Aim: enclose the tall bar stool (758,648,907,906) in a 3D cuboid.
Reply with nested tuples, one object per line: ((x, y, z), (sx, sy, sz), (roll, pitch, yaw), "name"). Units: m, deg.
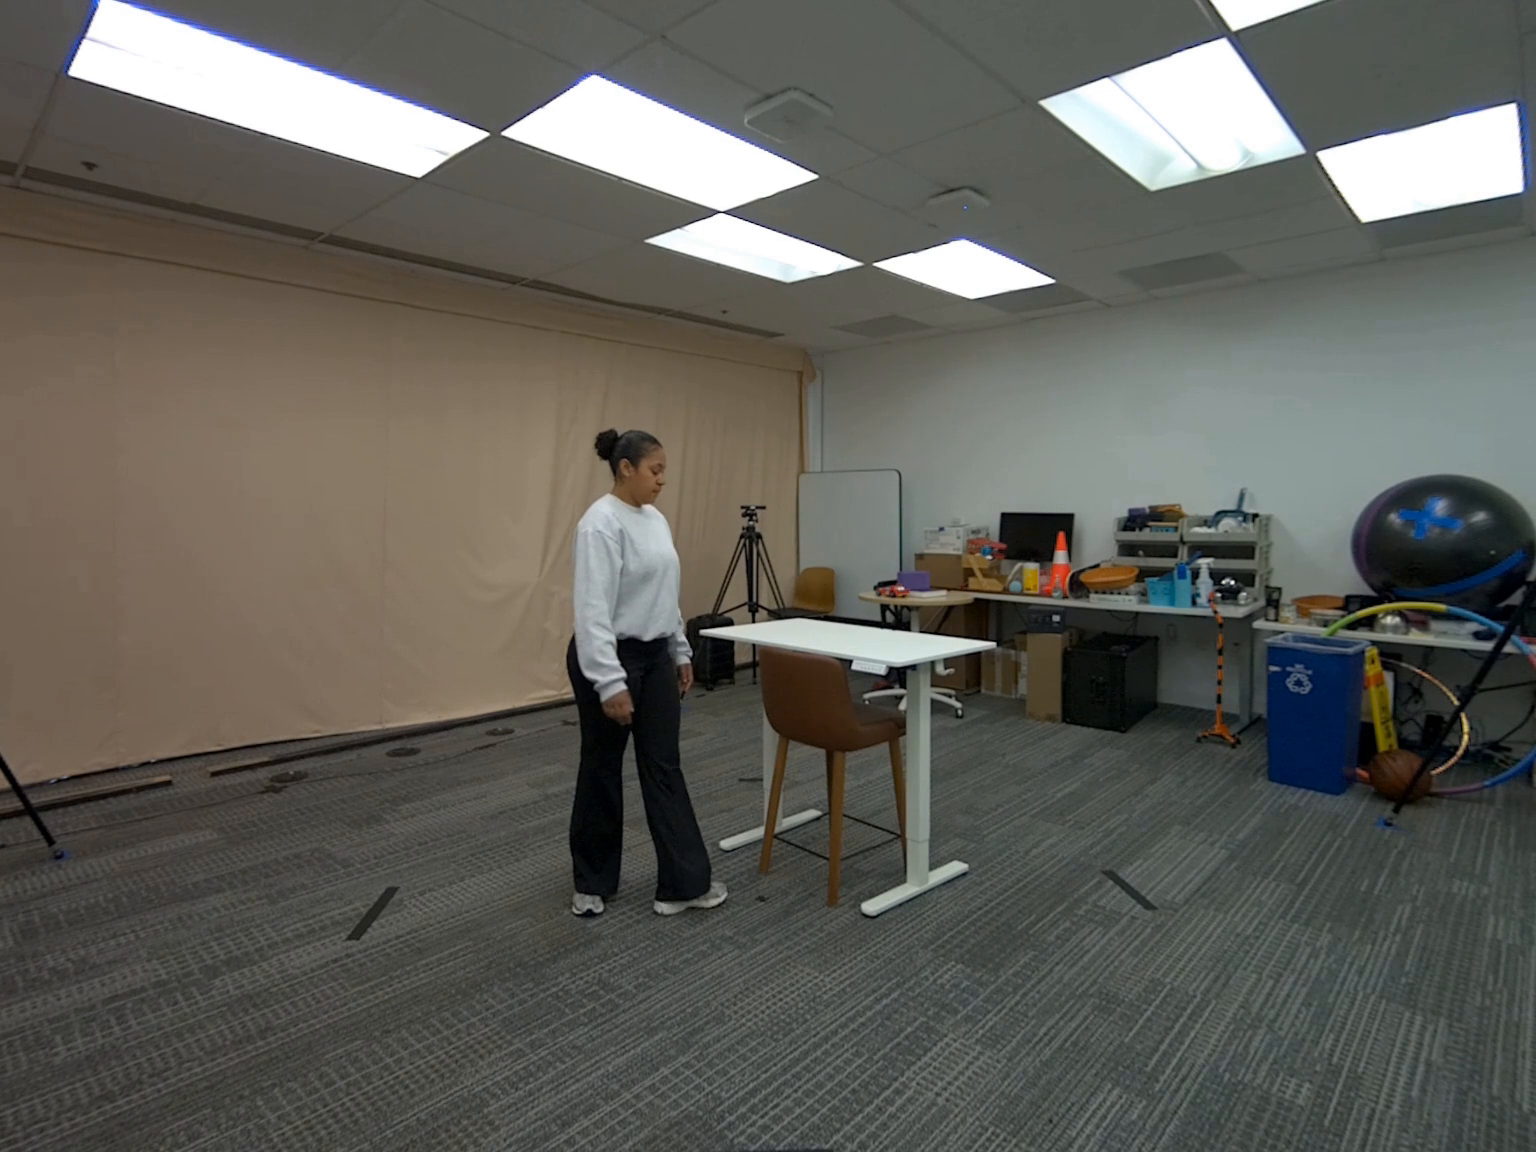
((0.251, 0.695, 3.174), (0.453, 0.887, 0.472), (-5, 7, -43), "tall bar stool")
